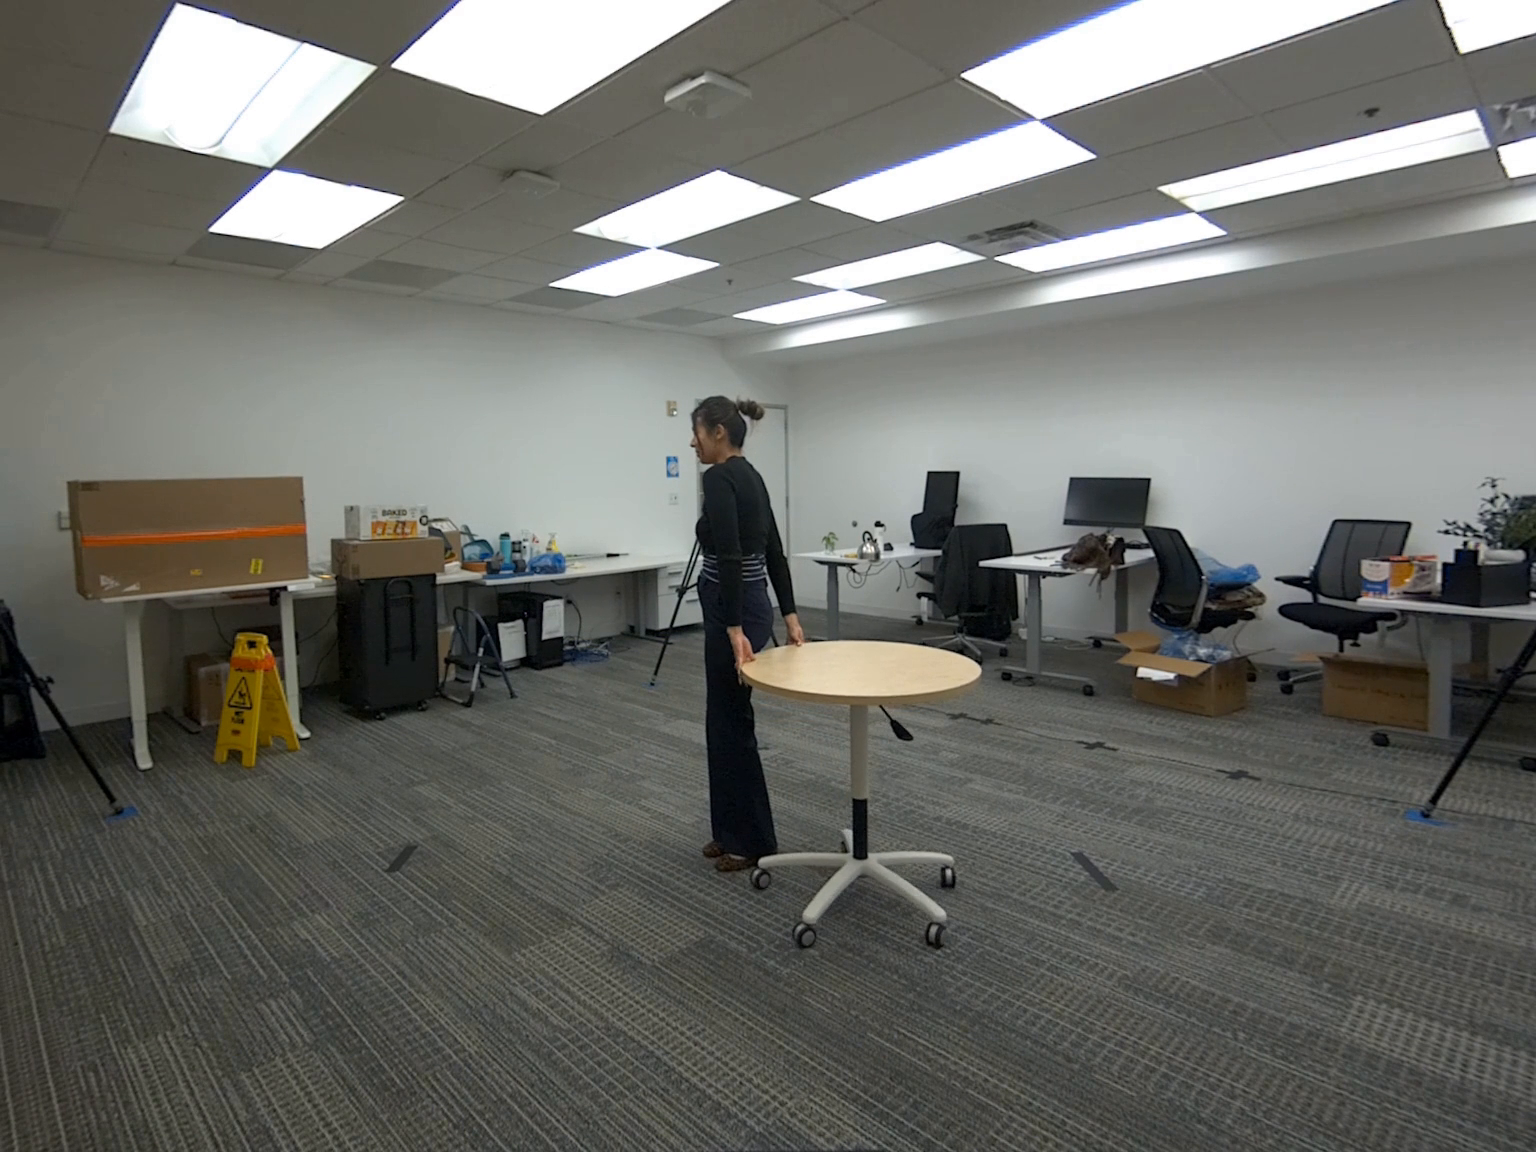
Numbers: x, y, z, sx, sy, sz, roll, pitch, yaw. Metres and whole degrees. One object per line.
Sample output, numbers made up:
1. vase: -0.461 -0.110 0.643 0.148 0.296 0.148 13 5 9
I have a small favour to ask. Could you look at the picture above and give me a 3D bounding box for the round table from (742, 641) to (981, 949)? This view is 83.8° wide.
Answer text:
1. round table: 0.310 0.683 2.808 0.763 0.790 0.768 -1 5 -2
